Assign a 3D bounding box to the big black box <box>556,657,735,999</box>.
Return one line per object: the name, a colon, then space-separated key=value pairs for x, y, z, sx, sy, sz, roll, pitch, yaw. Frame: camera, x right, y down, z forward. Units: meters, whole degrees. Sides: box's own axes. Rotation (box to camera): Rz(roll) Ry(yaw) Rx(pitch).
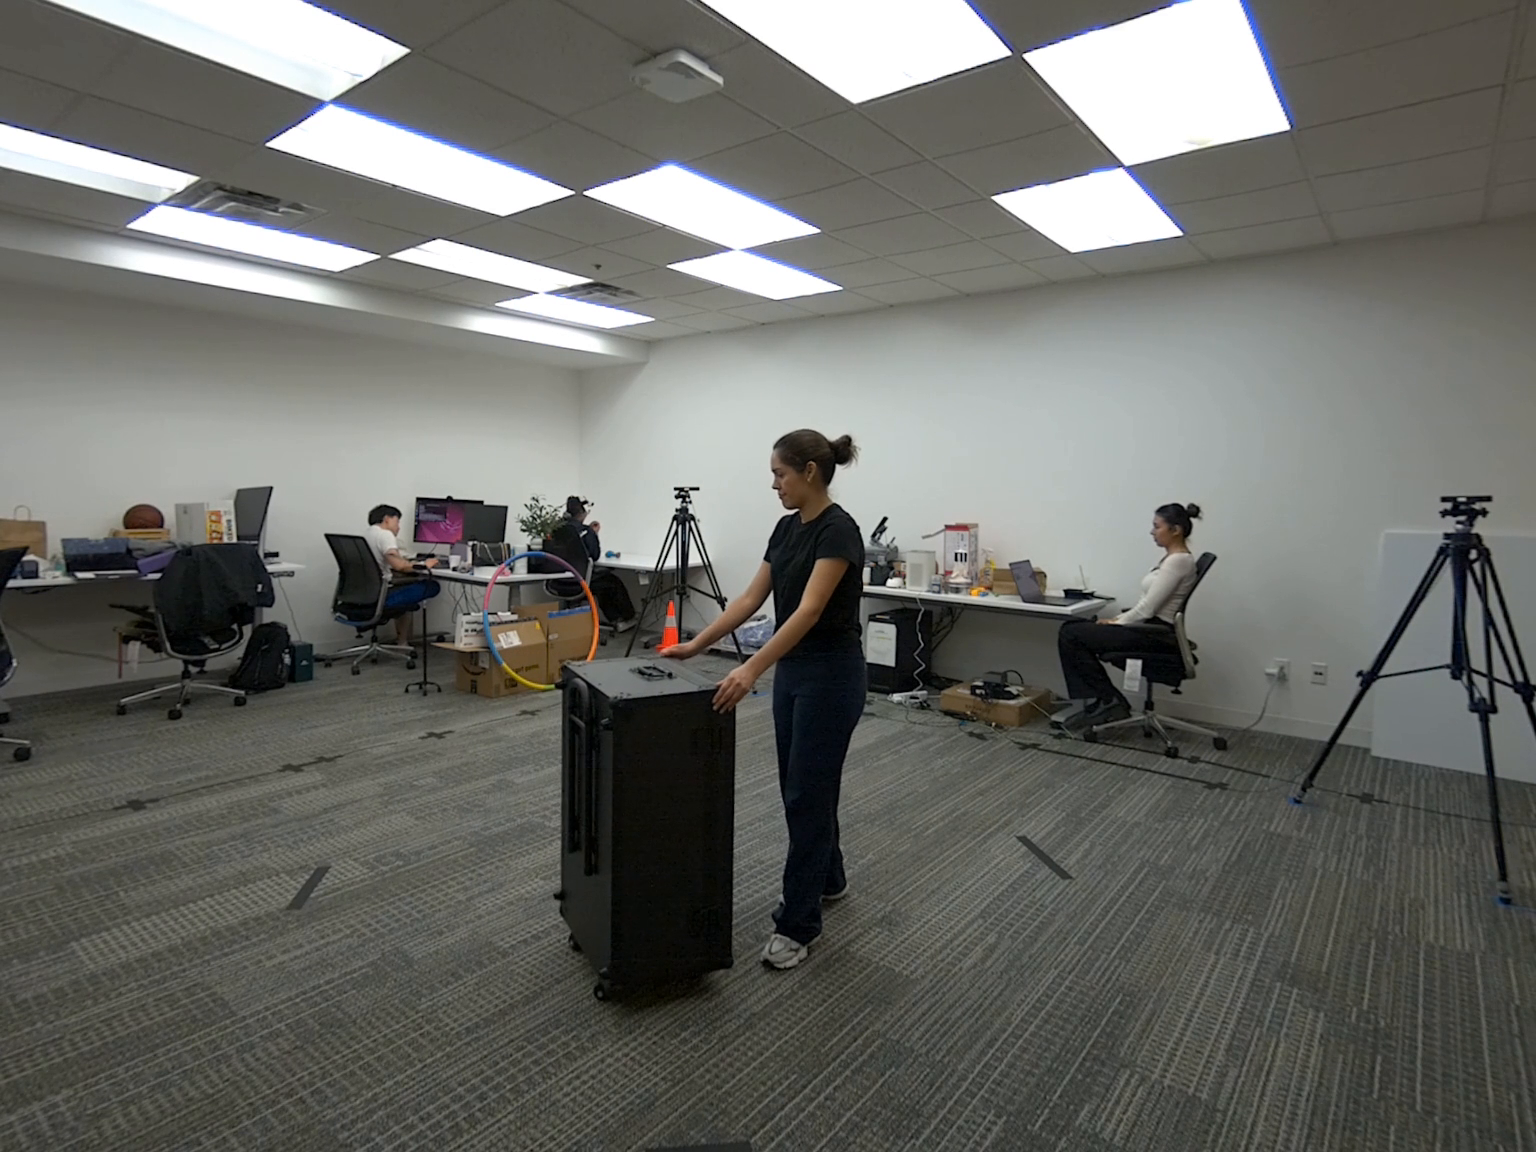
big black box: x=-0.361 y=0.702 z=2.465 sx=0.386 sy=0.859 sz=0.536 roll=-1 pitch=4 yaw=-28
